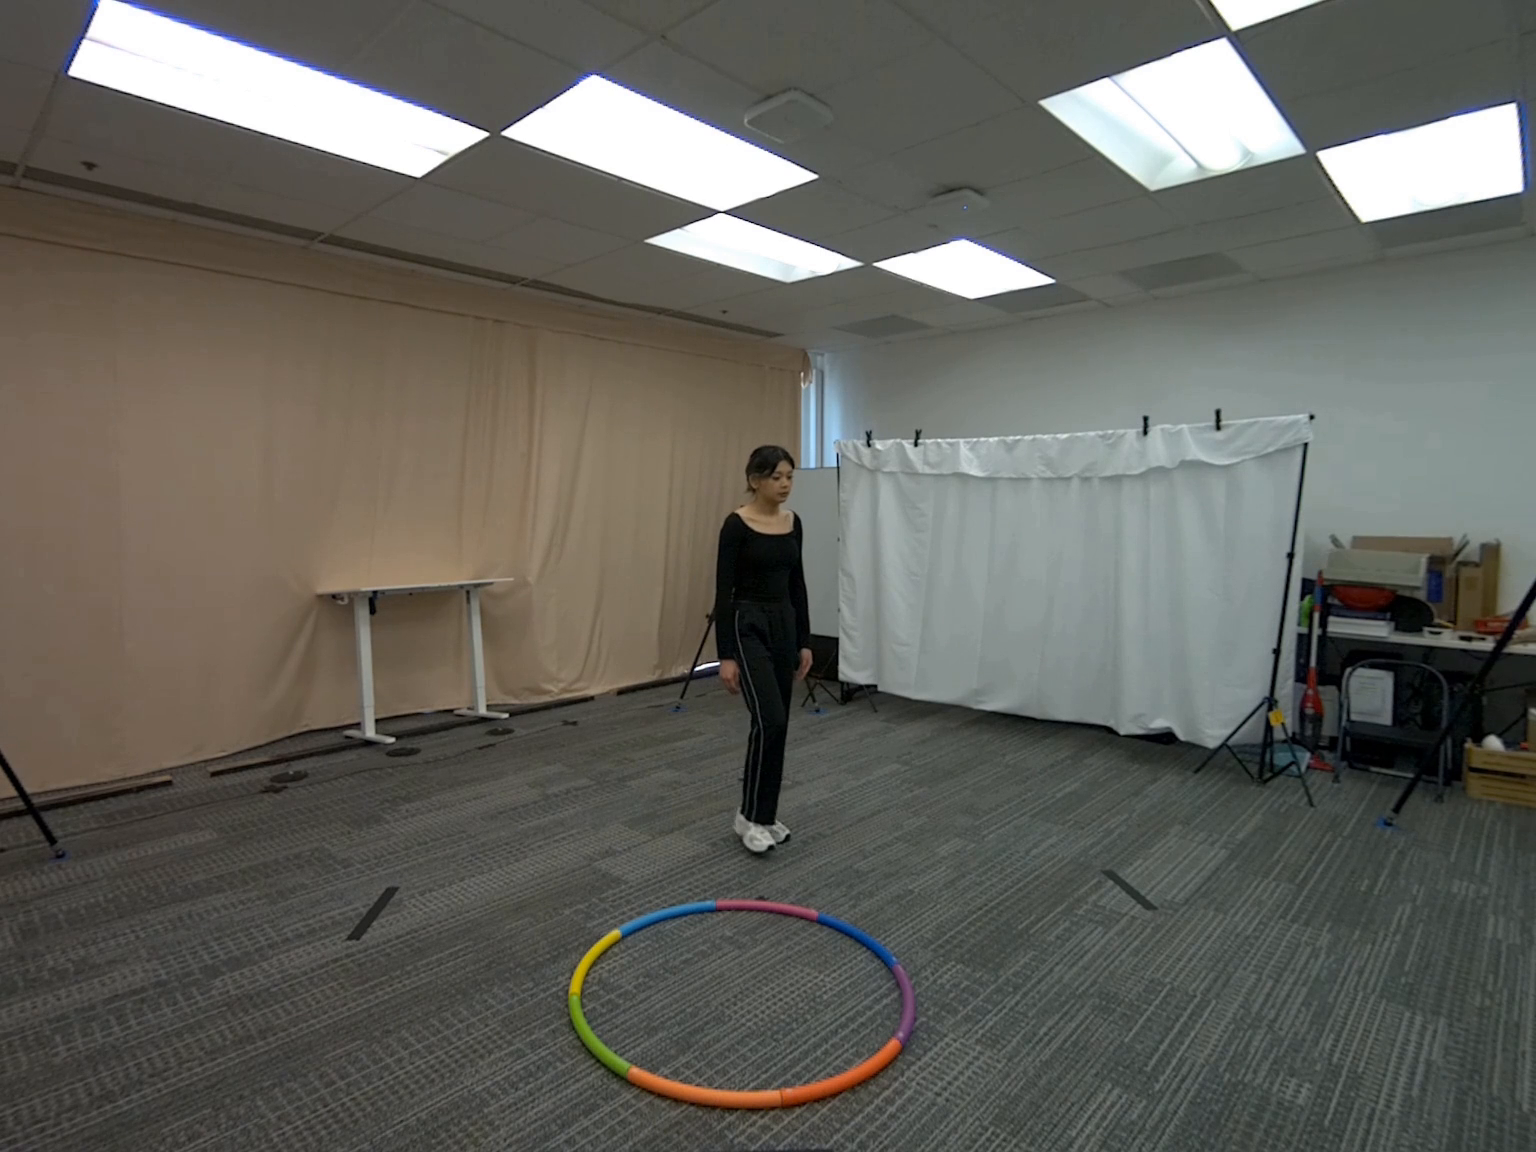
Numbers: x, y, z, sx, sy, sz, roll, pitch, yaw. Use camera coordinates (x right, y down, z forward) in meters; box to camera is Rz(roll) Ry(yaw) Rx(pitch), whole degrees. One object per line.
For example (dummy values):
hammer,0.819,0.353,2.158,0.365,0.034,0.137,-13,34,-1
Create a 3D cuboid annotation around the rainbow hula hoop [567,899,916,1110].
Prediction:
rainbow hula hoop,-0.075,1.160,2.433,0.978,0.035,0.982,0,4,-2
